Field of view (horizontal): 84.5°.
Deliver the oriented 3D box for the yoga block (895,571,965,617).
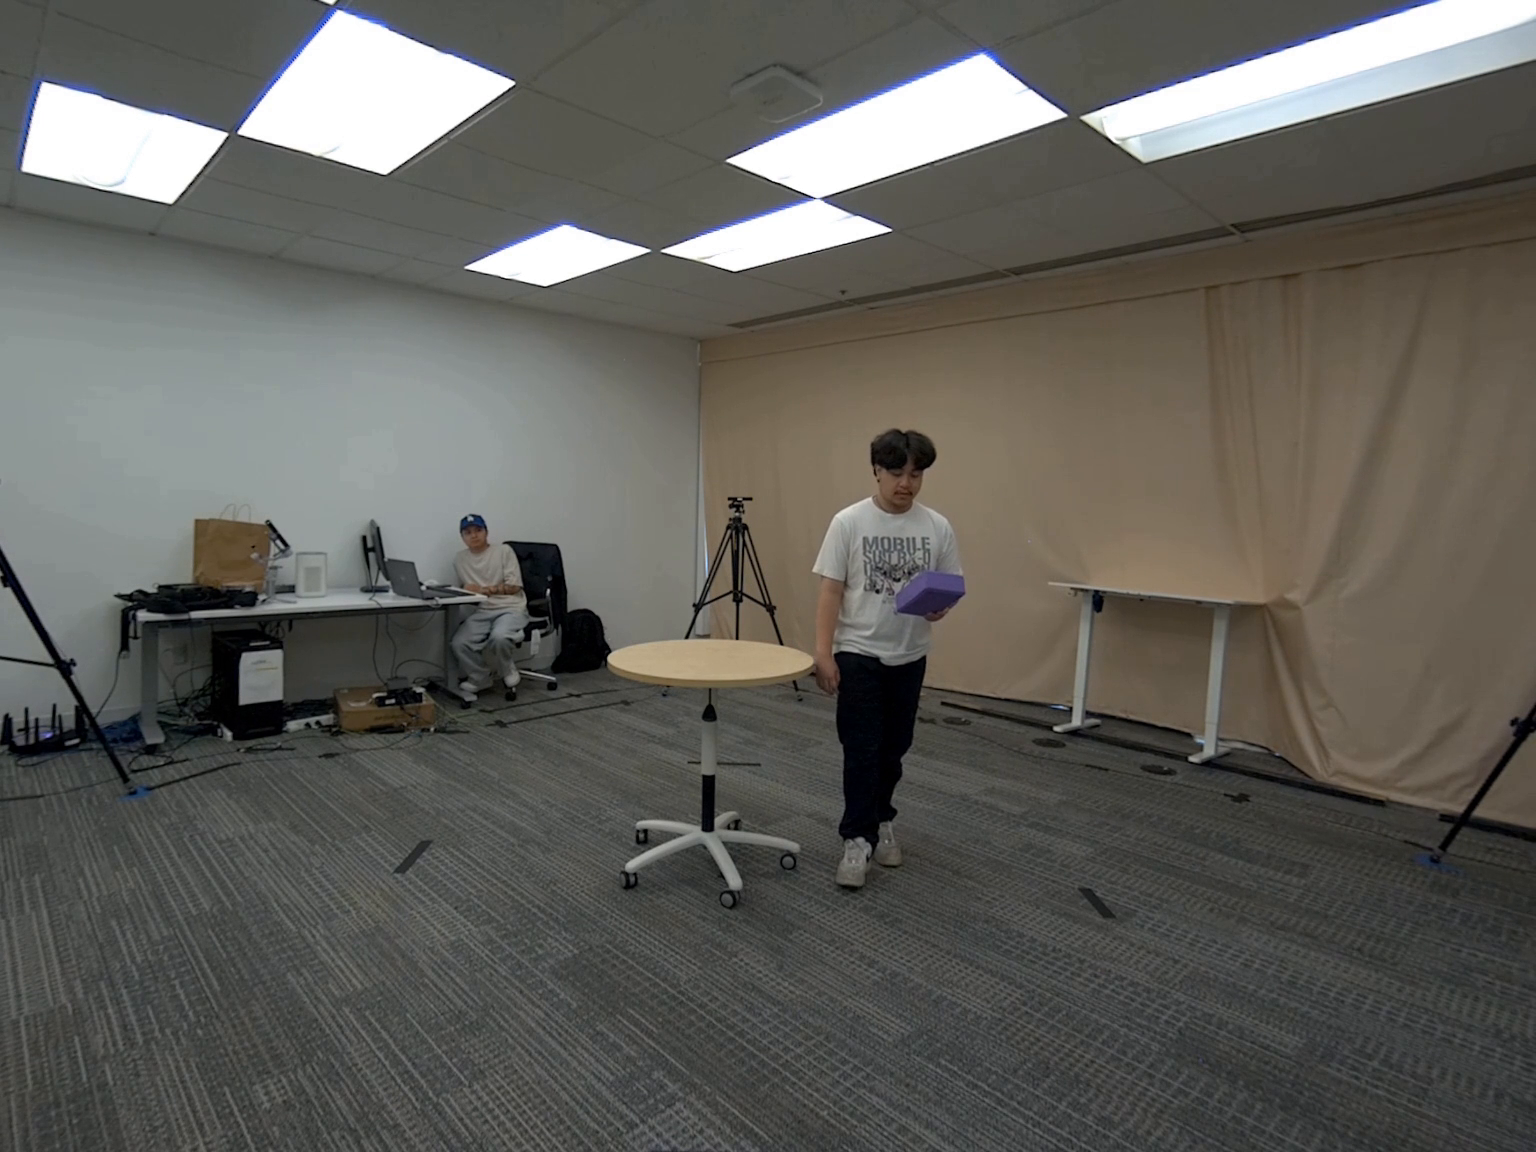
[{"bbox_3d":[0.541,0.063,2.876,0.147,0.078,0.228,7,-24,-15],"label":"yoga block"}]
